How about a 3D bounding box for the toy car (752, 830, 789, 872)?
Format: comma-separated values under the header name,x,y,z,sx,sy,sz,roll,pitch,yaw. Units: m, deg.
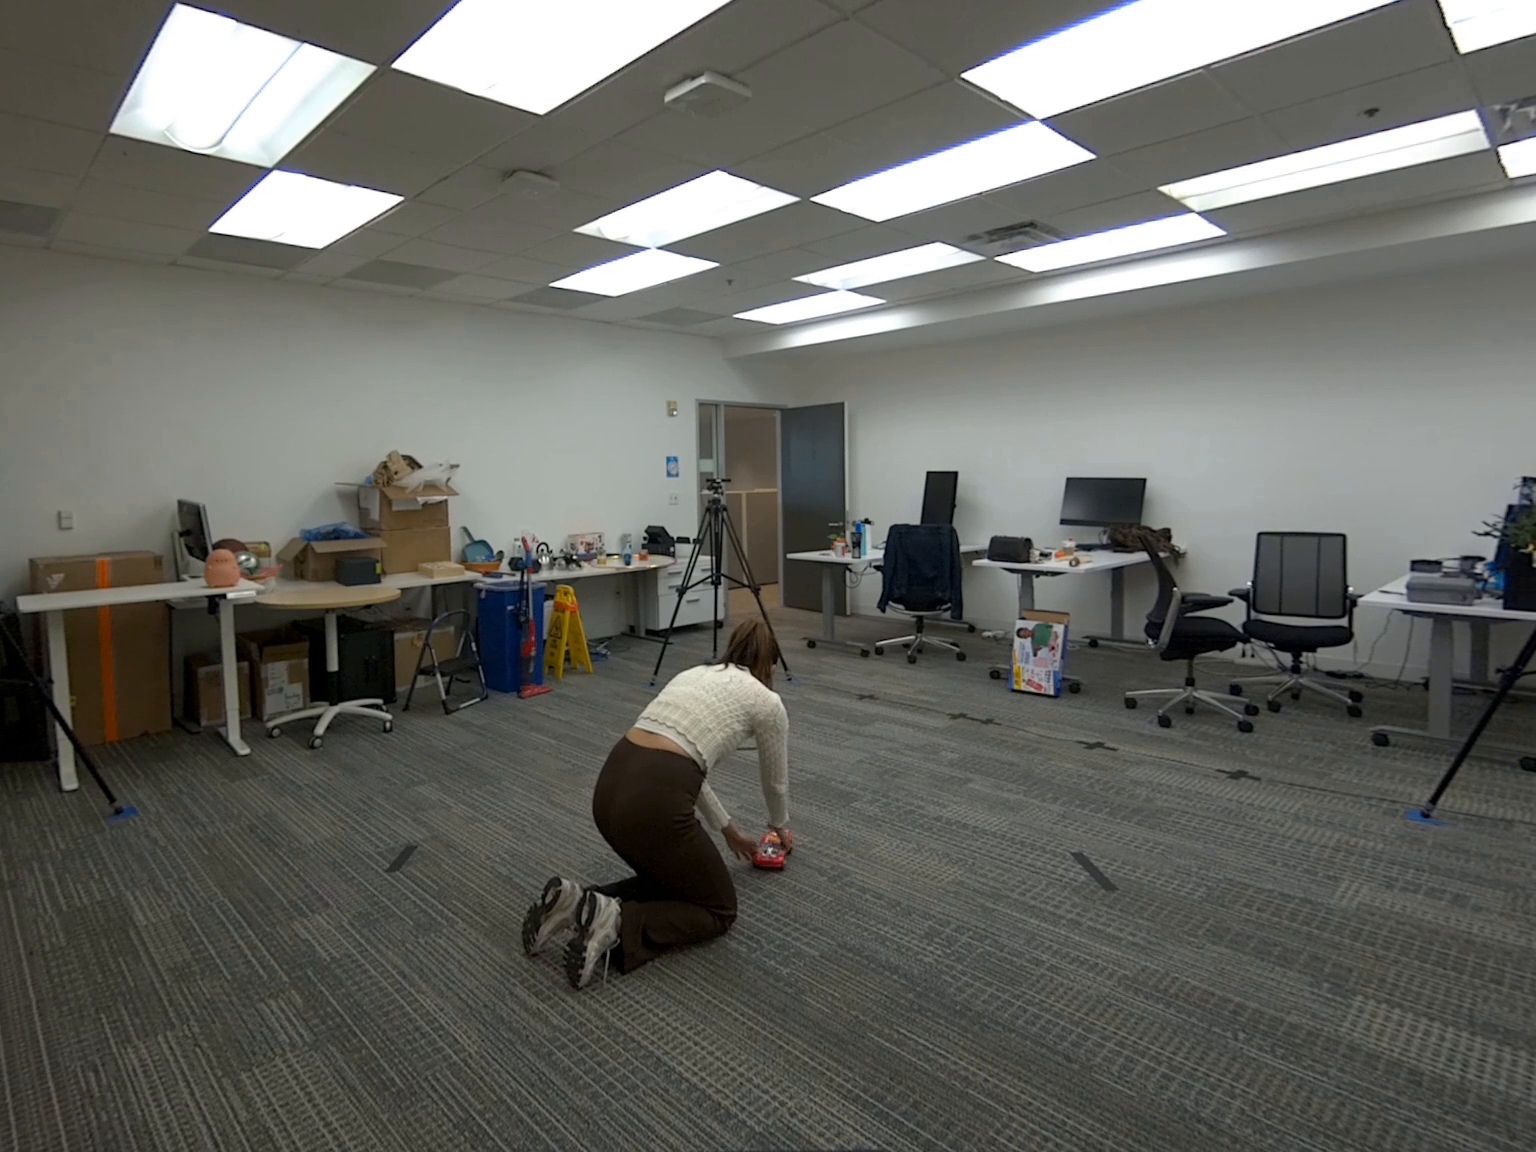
name,x,y,z,sx,sy,sz,roll,pitch,yaw
toy car,0.023,1.006,3.151,0.132,0.082,0.256,1,19,10
